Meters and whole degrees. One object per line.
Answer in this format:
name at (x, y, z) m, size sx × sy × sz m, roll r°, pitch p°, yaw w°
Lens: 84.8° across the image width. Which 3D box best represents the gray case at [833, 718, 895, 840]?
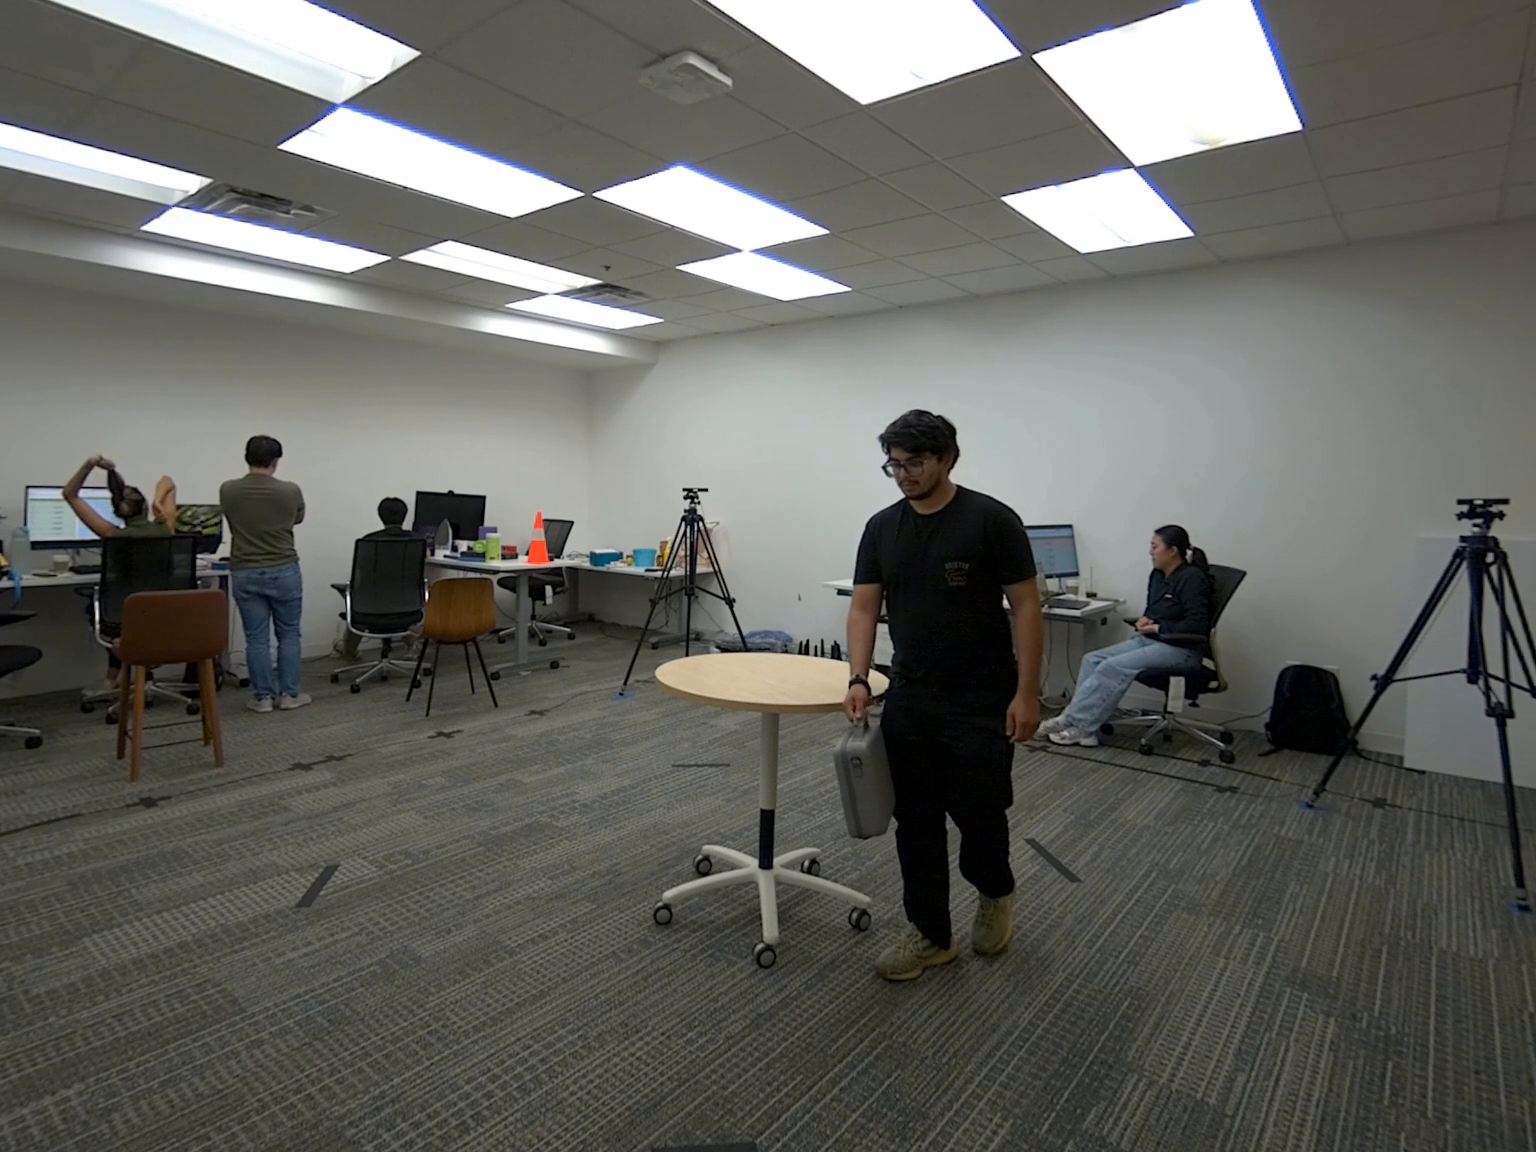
gray case at (0.265, 0.548, 2.347) m, size 0.106 × 0.261 × 0.253 m, roll -11°, pitch 1°, yaw 18°
